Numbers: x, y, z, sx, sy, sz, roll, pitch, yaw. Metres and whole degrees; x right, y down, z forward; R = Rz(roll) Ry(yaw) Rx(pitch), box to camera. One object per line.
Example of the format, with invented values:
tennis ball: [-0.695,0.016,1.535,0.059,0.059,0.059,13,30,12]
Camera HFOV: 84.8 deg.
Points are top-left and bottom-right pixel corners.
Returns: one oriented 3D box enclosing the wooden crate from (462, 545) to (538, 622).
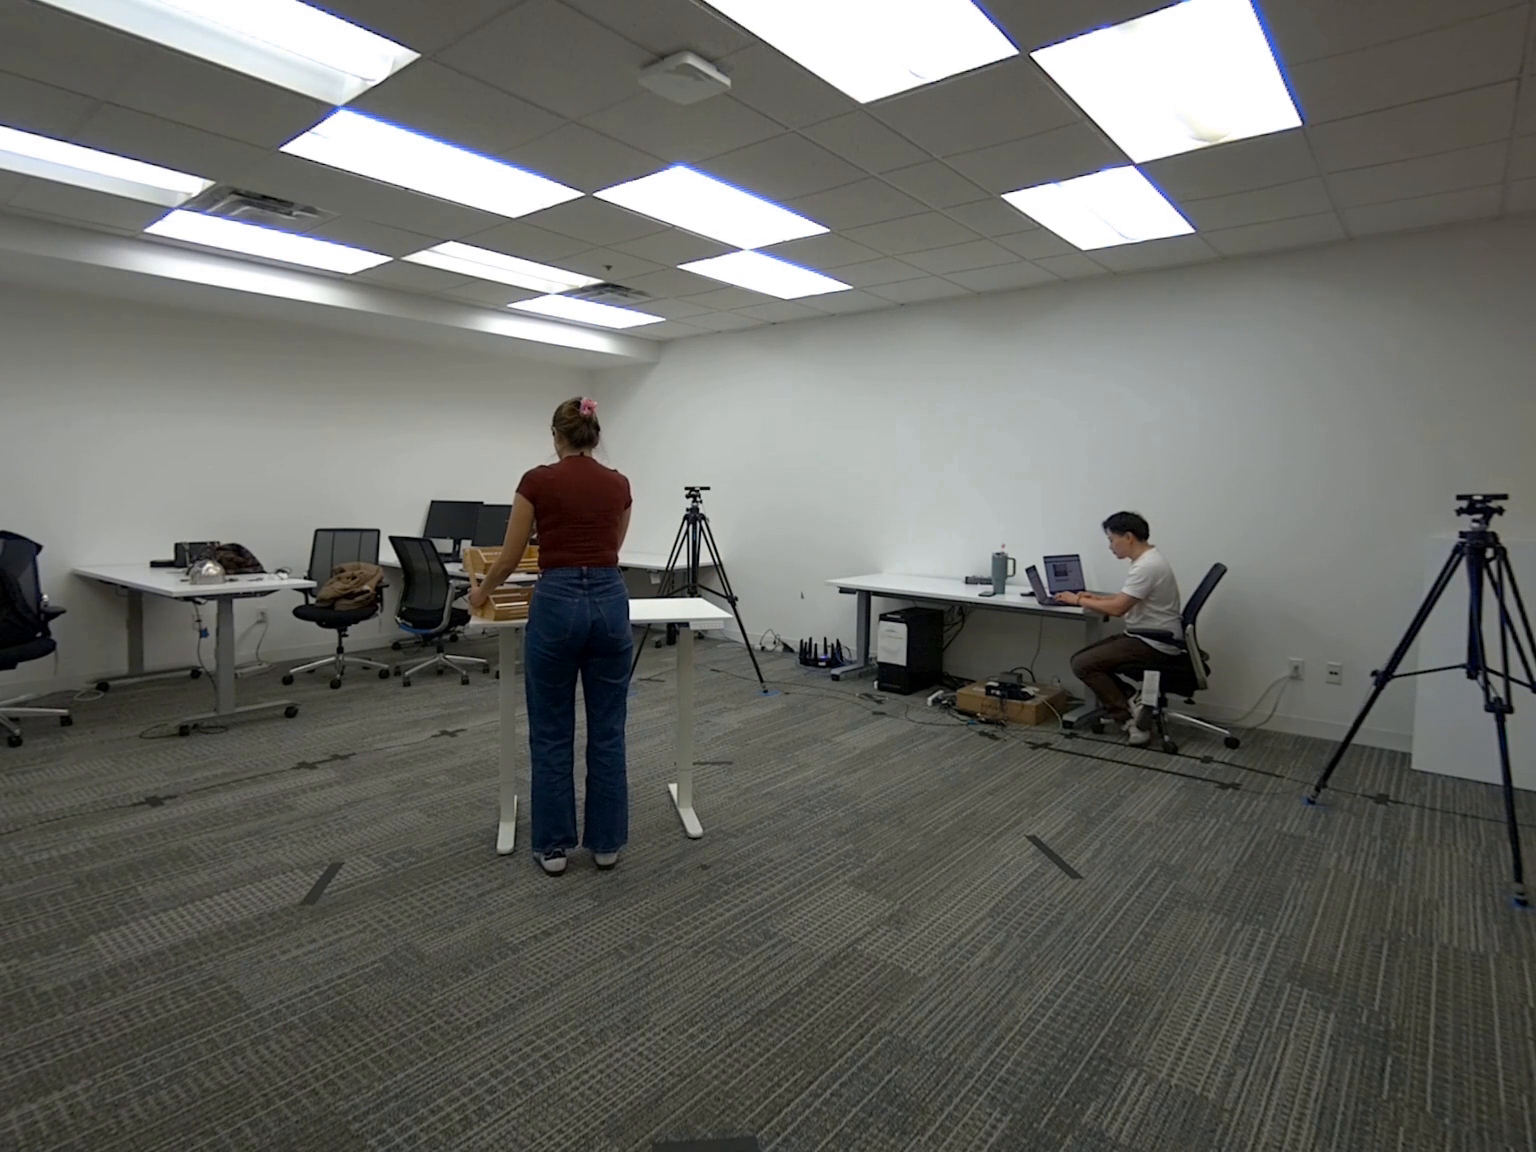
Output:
wooden crate: [-1.022,0.016,3.371,0.315,0.273,0.312,-3,4,-42]
